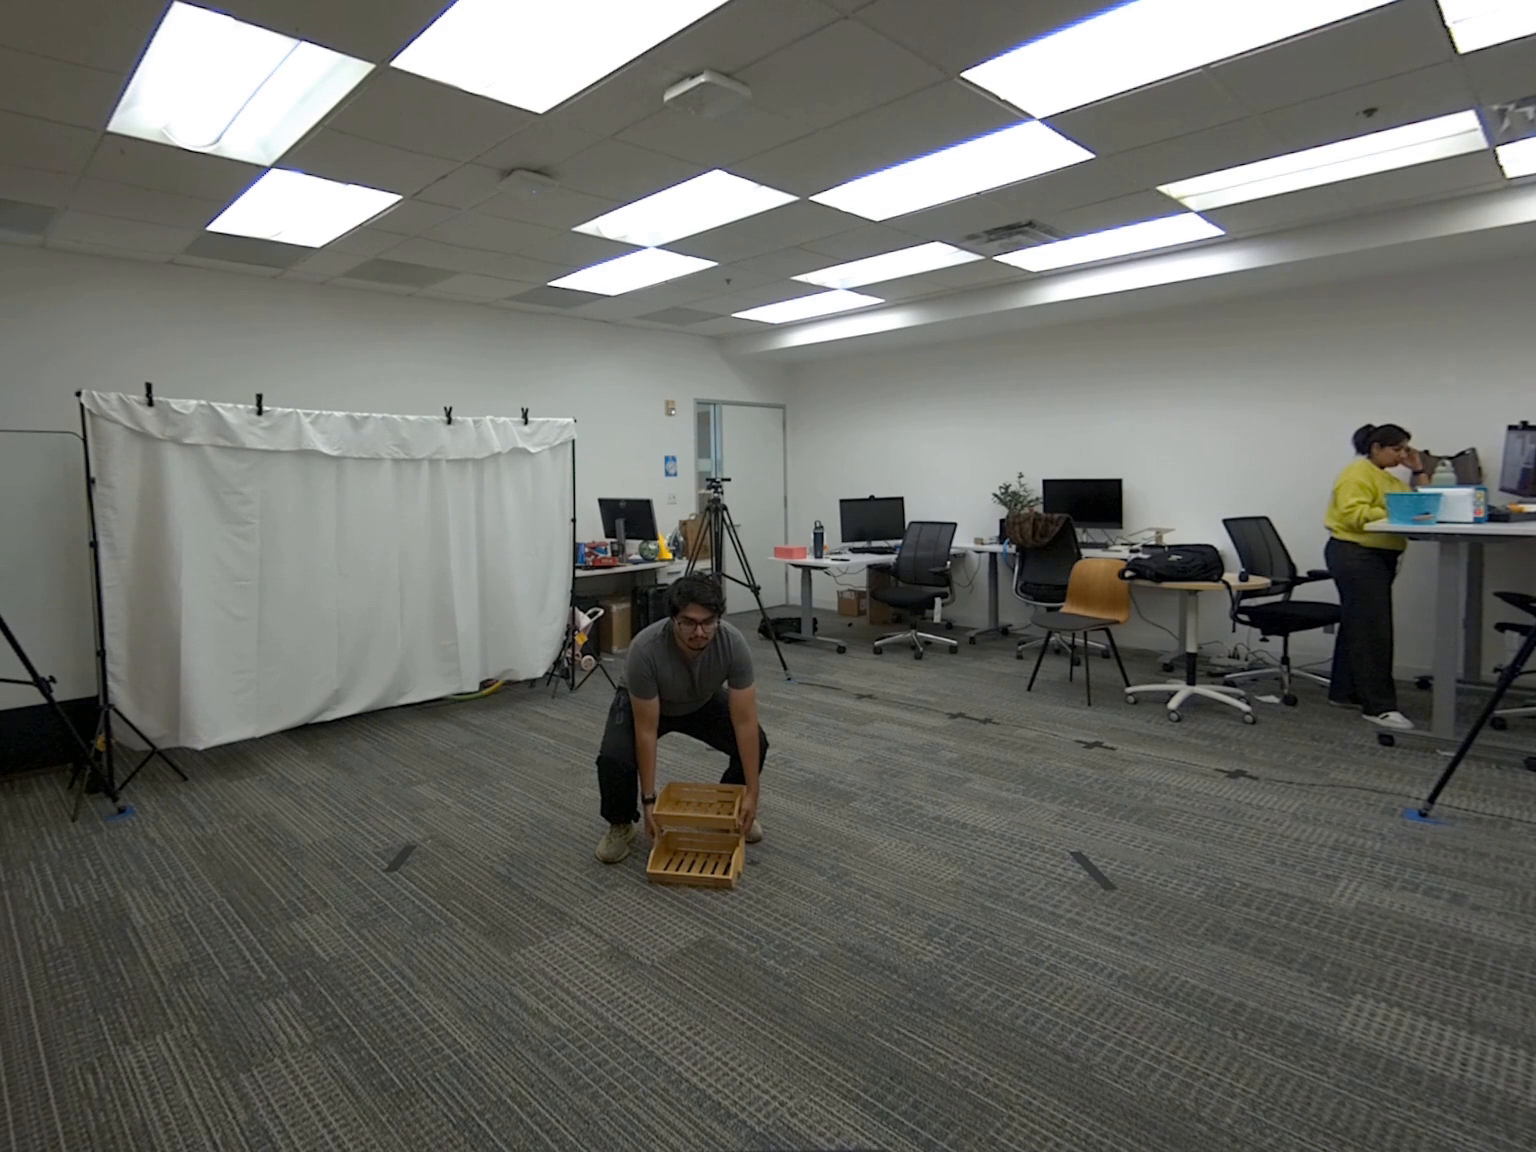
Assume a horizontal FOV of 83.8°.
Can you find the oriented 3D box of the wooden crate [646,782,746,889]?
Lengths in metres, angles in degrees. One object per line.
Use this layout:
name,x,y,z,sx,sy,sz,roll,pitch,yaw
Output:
wooden crate,-0.259,0.924,3.048,0.329,0.272,0.299,1,5,13
